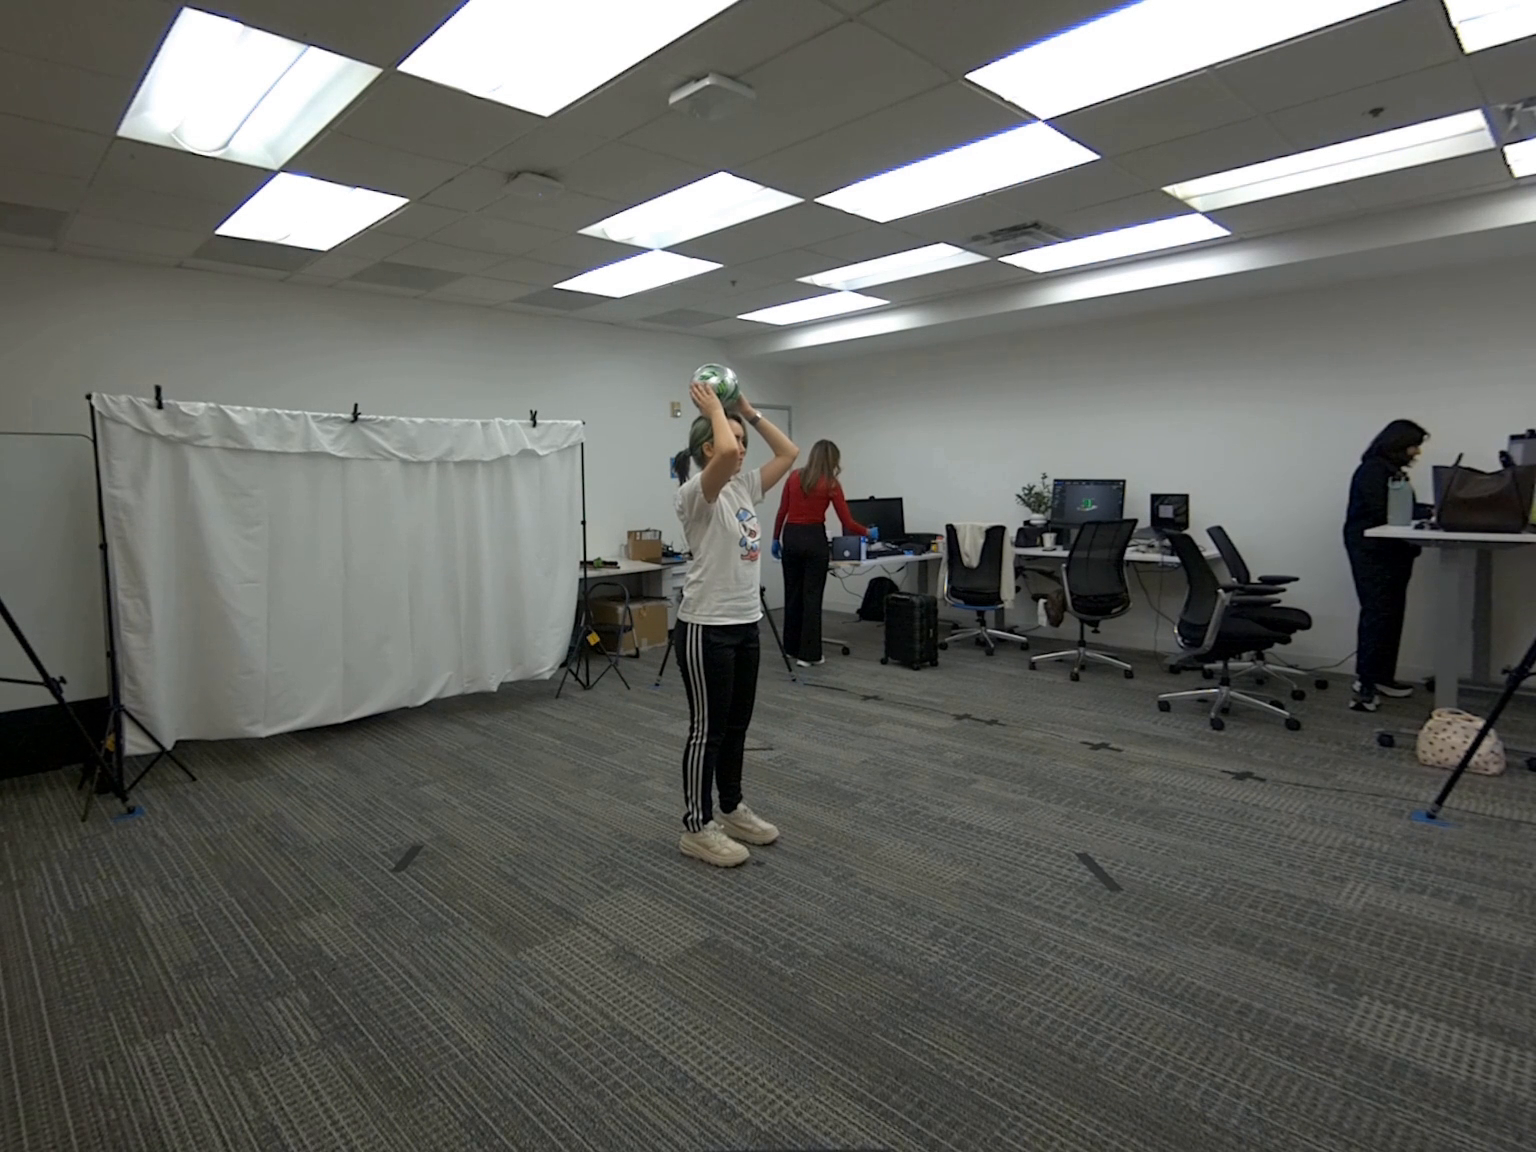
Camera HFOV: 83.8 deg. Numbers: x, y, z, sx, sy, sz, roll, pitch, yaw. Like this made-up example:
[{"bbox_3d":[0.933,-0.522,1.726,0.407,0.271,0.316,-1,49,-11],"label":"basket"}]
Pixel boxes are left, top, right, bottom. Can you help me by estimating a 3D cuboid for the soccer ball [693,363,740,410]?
[{"bbox_3d":[-0.197,-0.690,3.170,0.187,0.187,0.188,-1,5,-2],"label":"soccer ball"}]
